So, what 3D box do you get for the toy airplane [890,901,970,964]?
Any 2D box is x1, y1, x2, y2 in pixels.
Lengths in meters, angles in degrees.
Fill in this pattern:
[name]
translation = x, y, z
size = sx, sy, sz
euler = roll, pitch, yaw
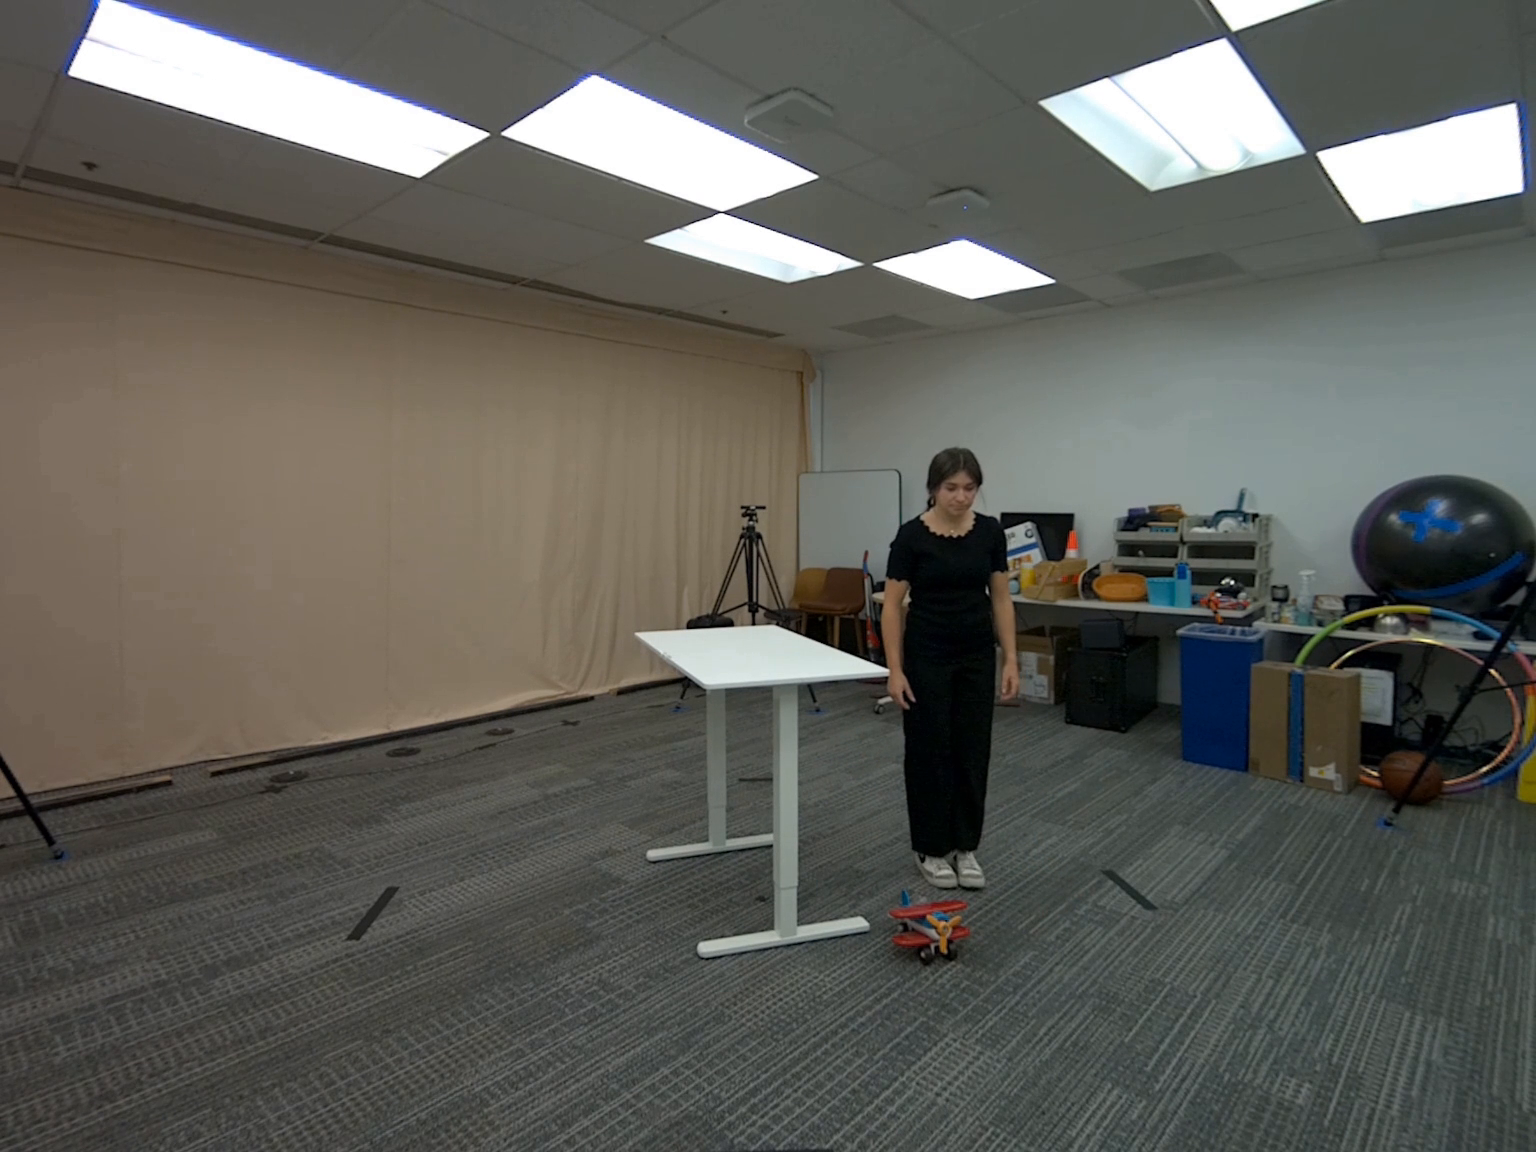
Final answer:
[toy airplane]
translation = 0.479, 1.095, 2.642
size = 0.268, 0.156, 0.243
euler = 6, 7, 43
